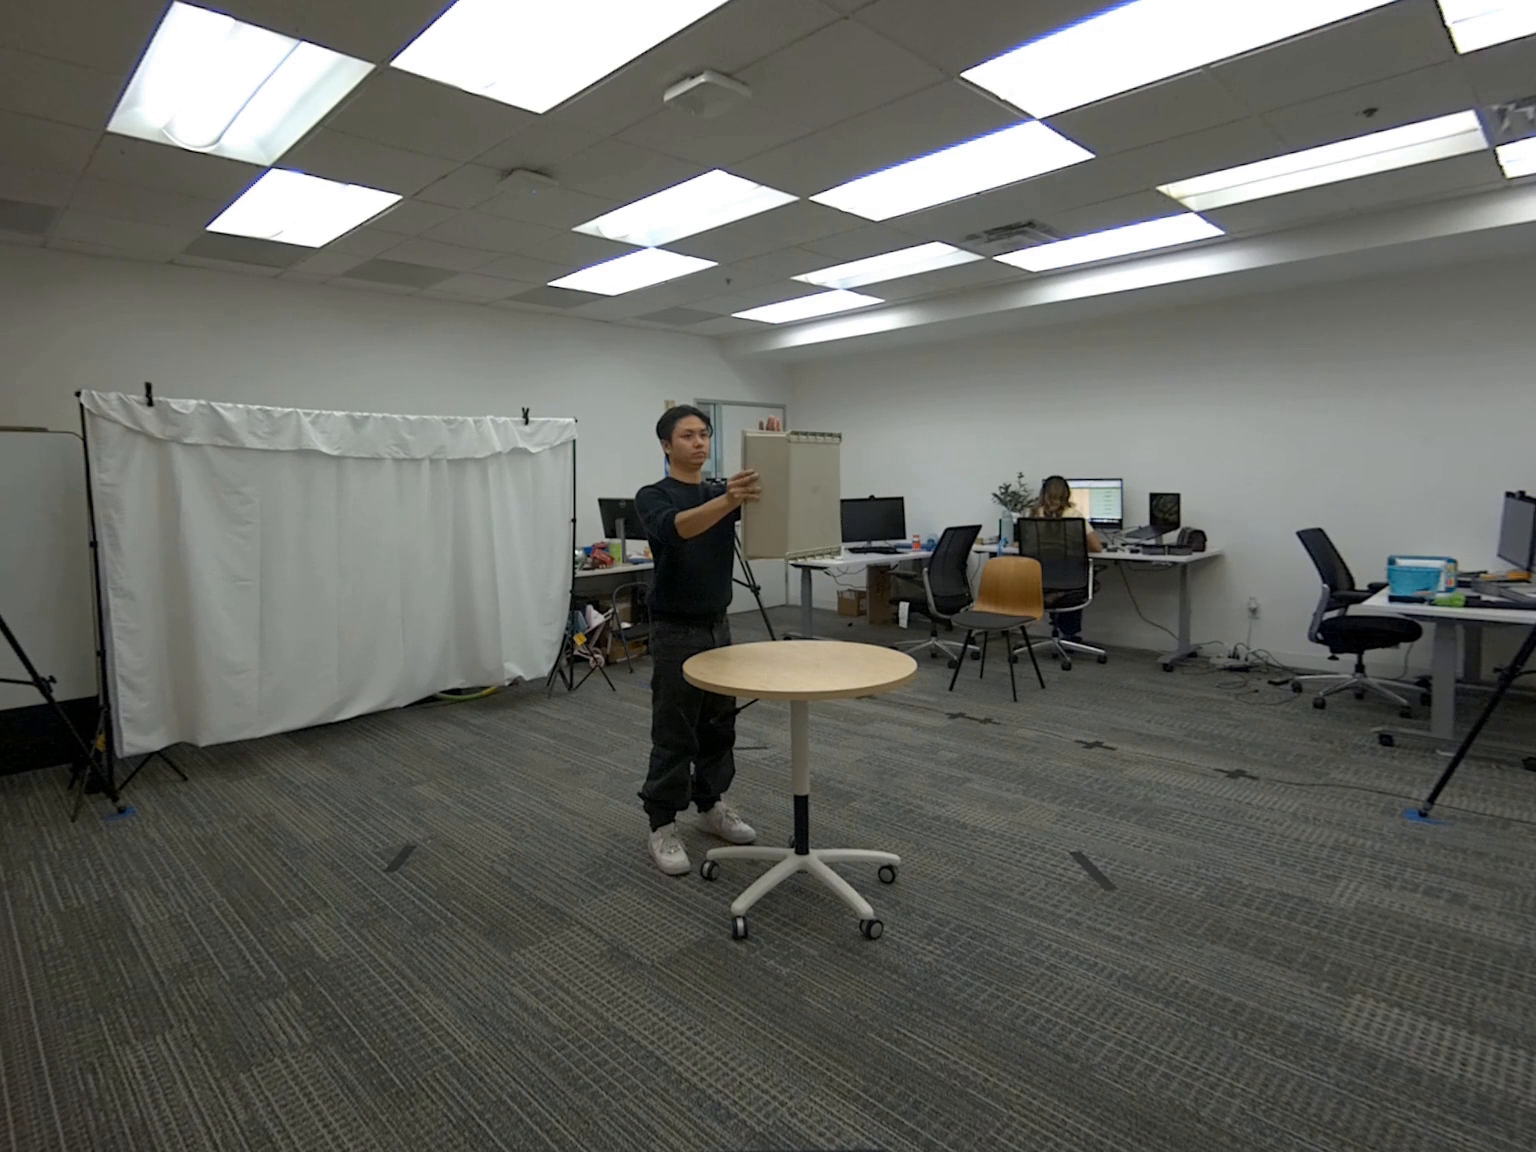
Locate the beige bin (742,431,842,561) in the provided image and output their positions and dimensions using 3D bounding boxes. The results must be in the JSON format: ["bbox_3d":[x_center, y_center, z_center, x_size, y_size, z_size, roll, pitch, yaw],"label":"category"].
[{"bbox_3d":[0.093,-0.265,2.840,0.194,0.420,0.368,4,7,36],"label":"beige bin"}]
